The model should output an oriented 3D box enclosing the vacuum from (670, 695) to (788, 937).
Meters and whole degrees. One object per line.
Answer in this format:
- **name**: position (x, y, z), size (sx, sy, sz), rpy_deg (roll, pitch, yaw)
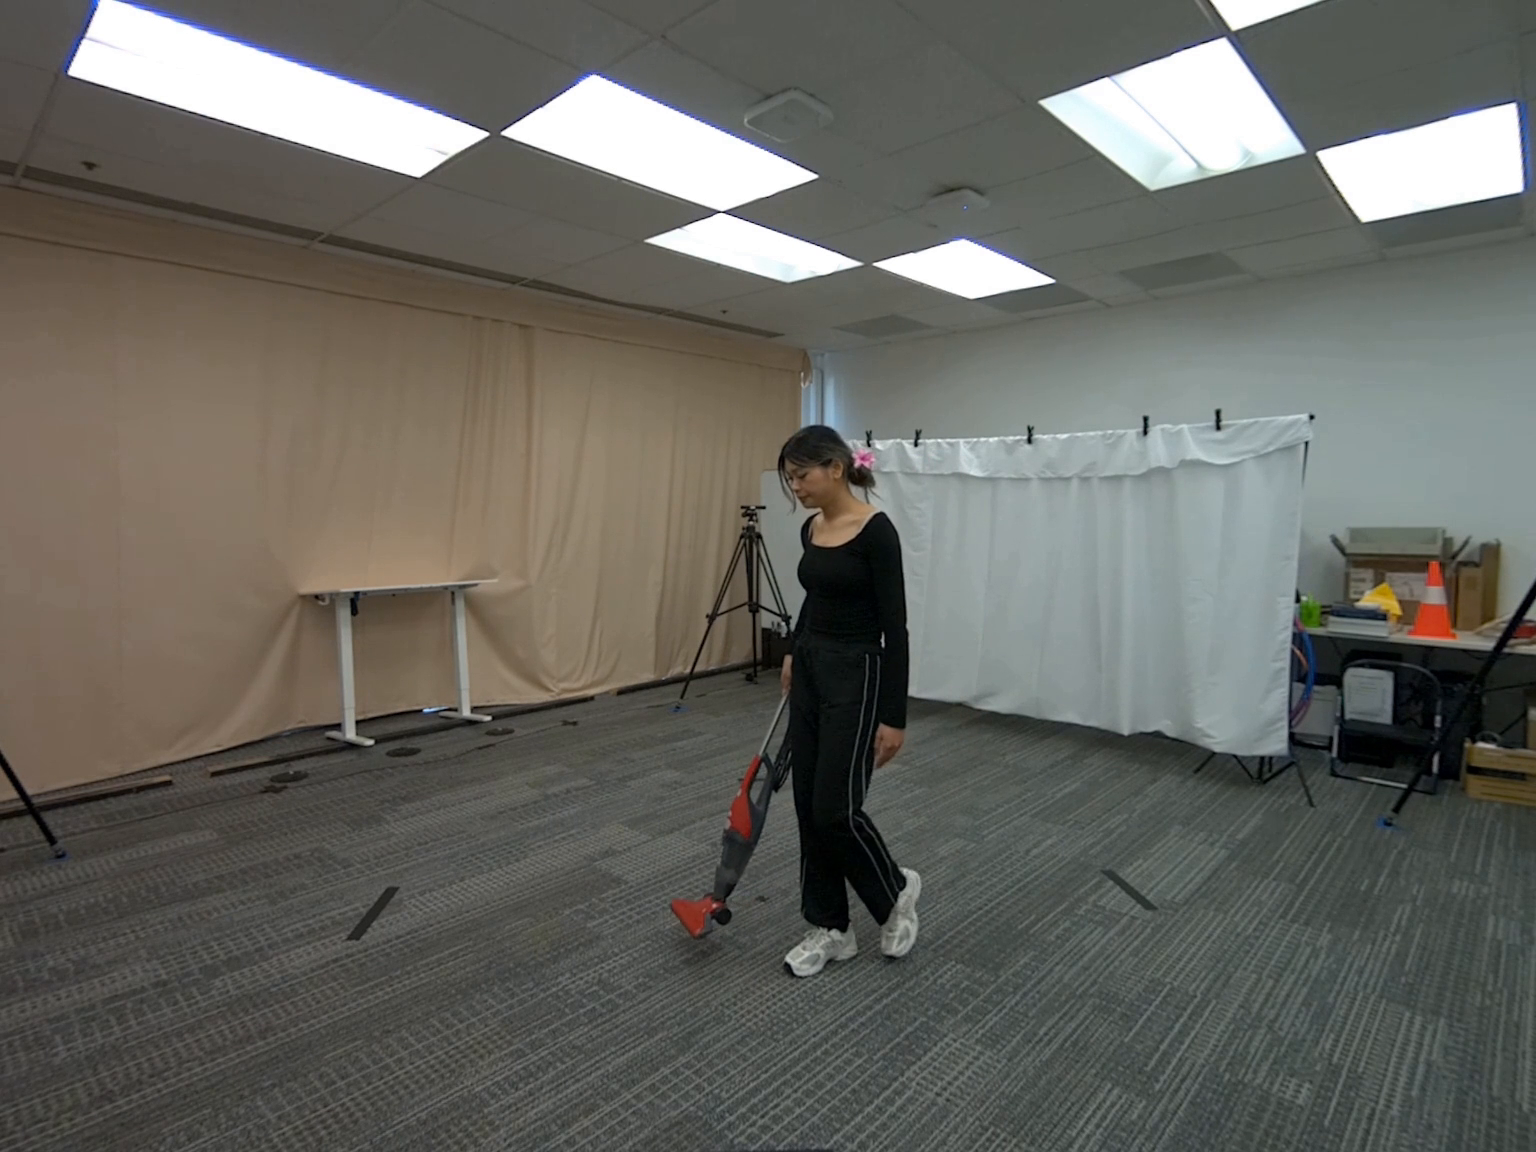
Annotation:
- **vacuum**: position (0.000, 0.607, 2.715), size (0.140, 1.051, 0.259), rpy_deg (28, -12, -23)
